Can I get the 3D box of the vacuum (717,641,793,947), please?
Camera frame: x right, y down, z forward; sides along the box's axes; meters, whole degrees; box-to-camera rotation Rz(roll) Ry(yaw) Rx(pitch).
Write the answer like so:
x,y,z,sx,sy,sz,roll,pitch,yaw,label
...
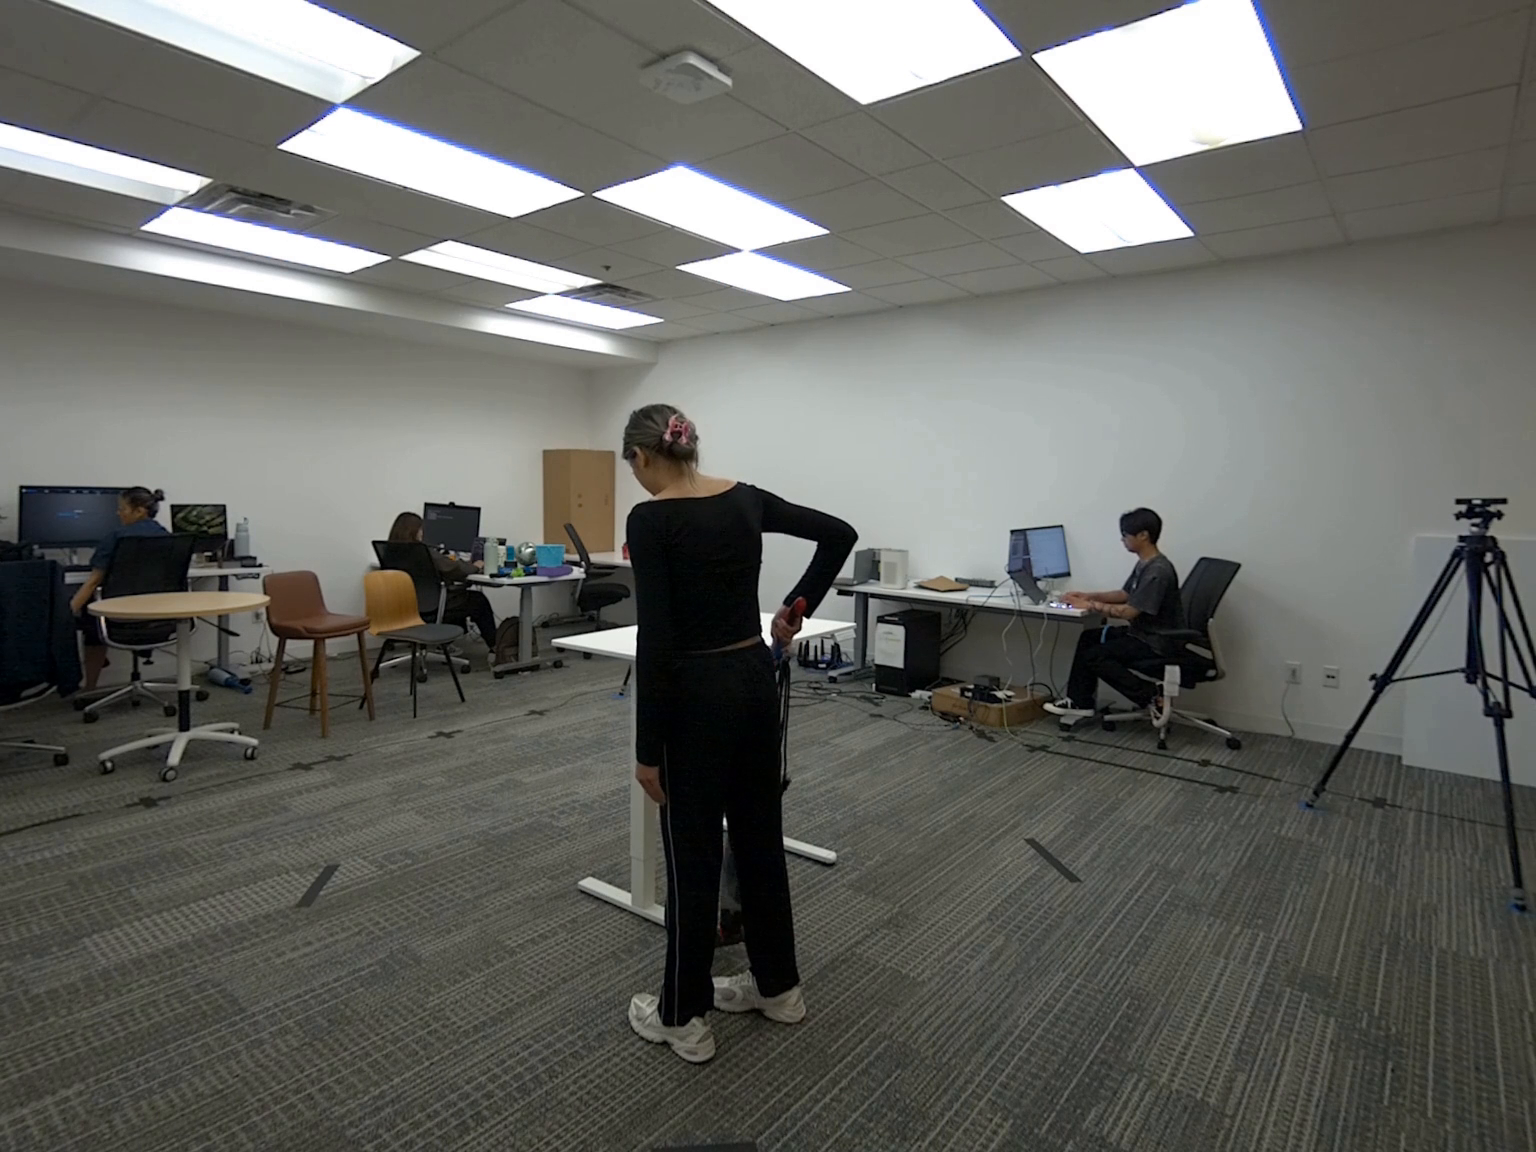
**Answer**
x,y,z,sx,sy,sz,roll,pitch,yaw,label
-0.043,0.562,2.363,0.245,1.039,0.149,5,15,-31,vacuum
